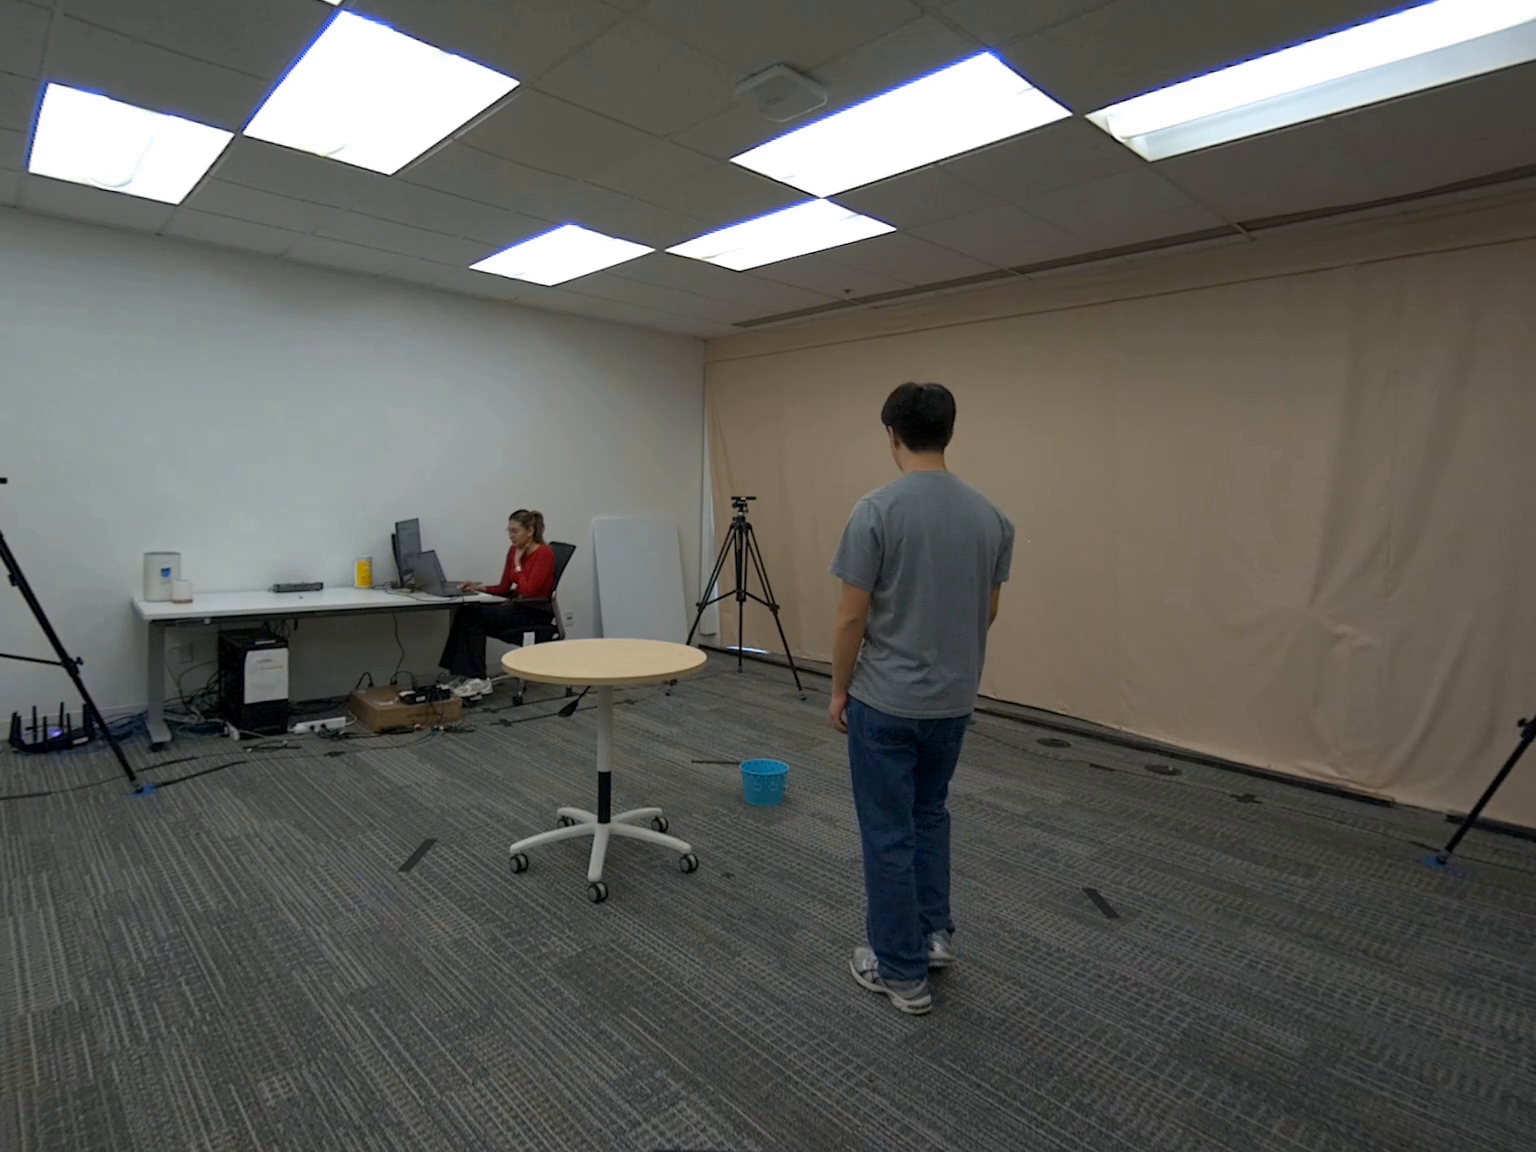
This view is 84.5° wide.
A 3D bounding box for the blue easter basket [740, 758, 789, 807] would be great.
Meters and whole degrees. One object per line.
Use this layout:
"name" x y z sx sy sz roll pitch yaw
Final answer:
"blue easter basket" -0.021 0.961 3.918 0.243 0.155 0.244 1 4 -1
